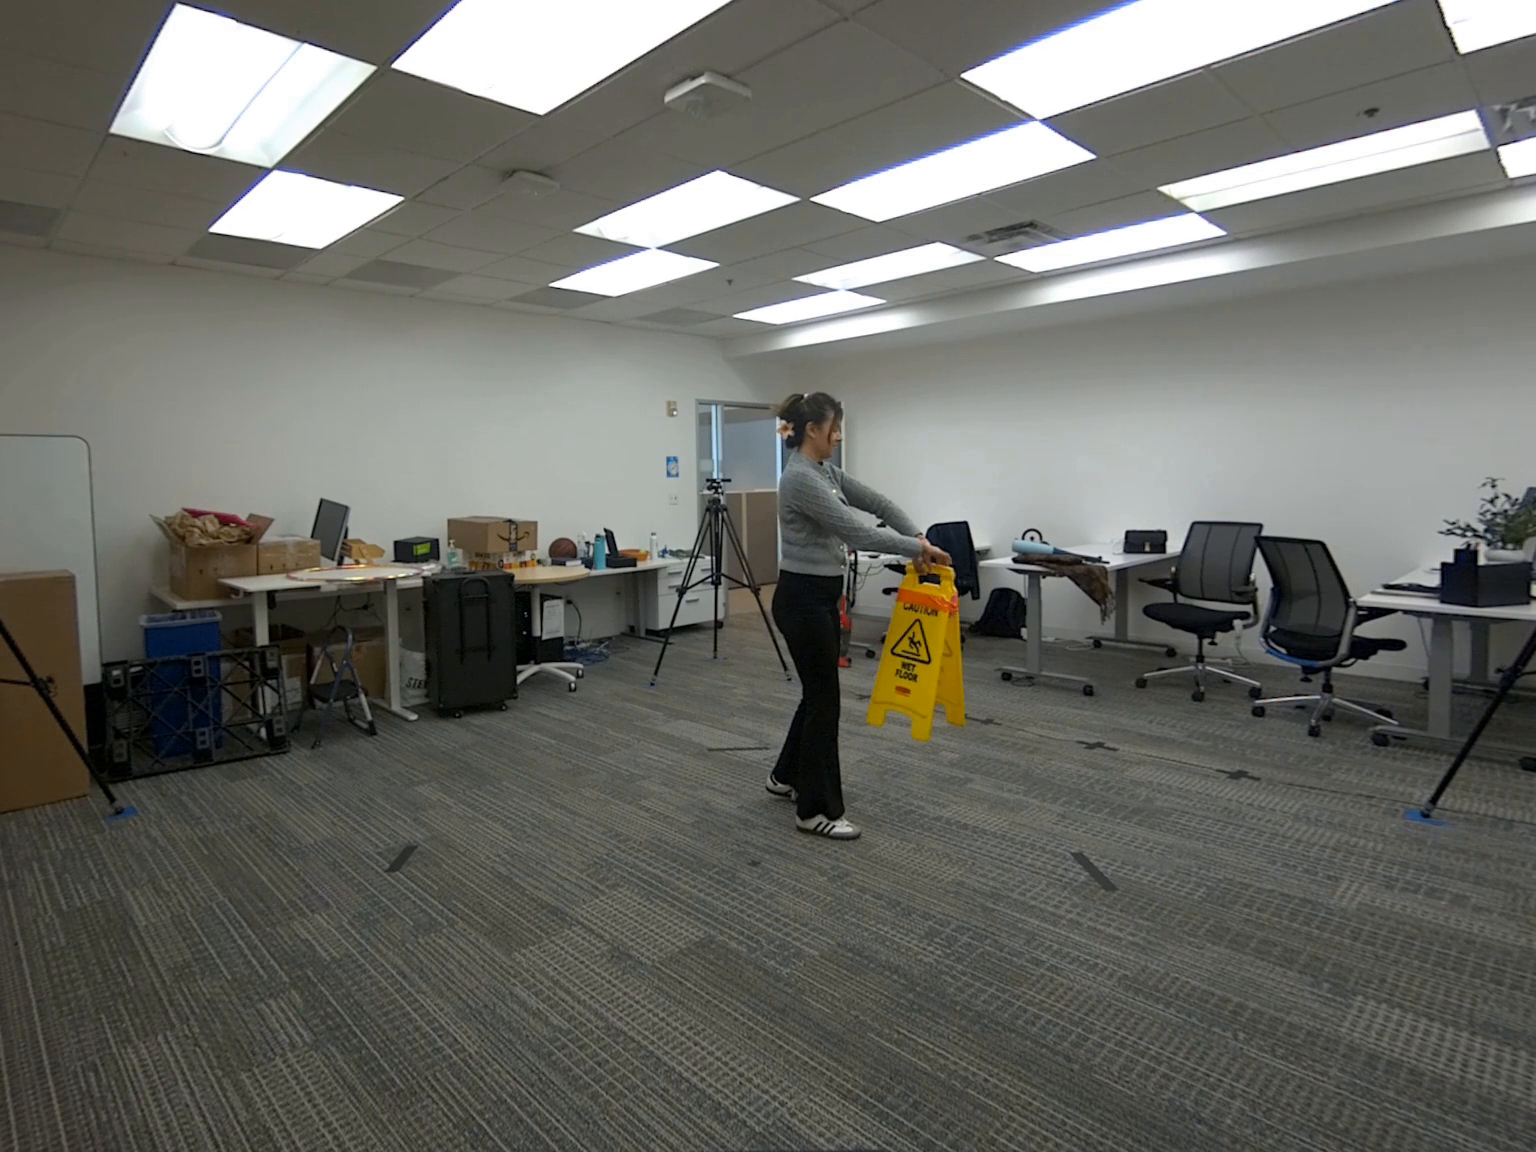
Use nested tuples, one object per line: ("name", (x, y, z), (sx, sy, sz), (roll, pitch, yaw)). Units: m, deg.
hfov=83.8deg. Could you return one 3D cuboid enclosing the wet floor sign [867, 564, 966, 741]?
("wet floor sign", (0.605, 0.272, 3.344), (0.292, 0.642, 0.282), (11, 9, 41))
